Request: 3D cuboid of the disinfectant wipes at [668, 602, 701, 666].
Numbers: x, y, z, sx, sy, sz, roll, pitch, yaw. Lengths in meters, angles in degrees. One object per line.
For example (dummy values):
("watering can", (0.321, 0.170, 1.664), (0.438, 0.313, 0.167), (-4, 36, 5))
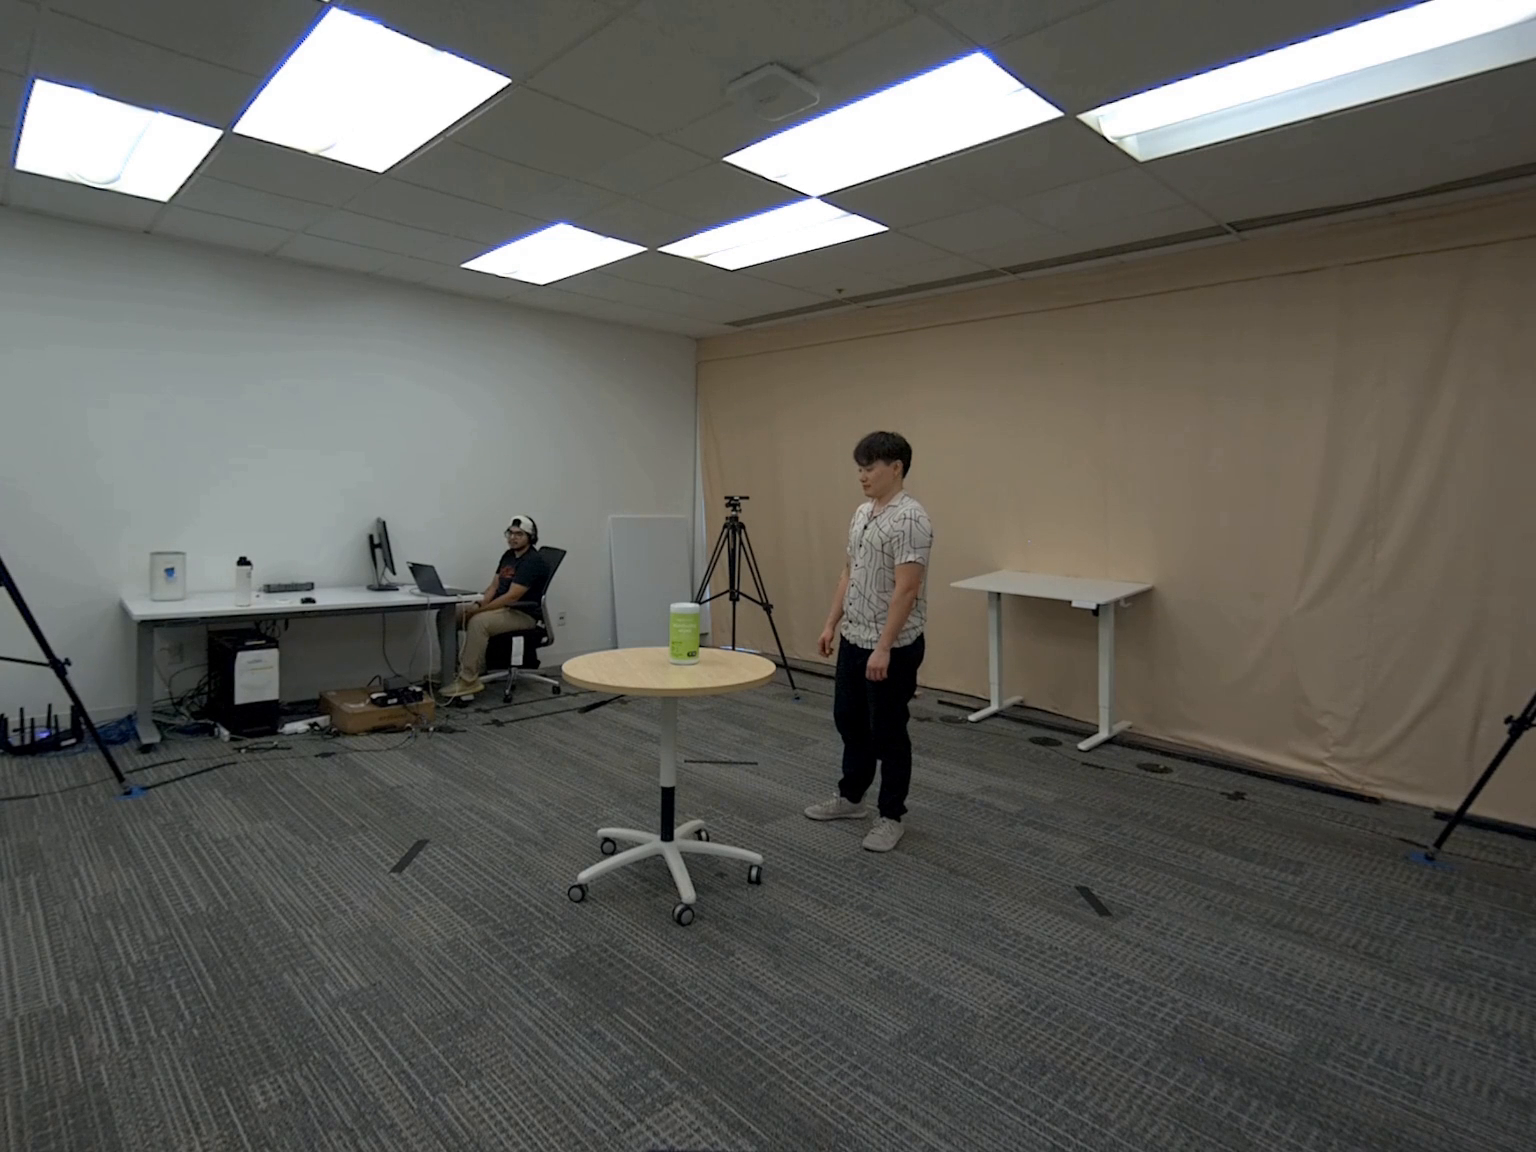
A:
("disinfectant wipes", (-0.317, 0.214, 3.082), (0.118, 0.217, 0.118), (2, 5, -2))
